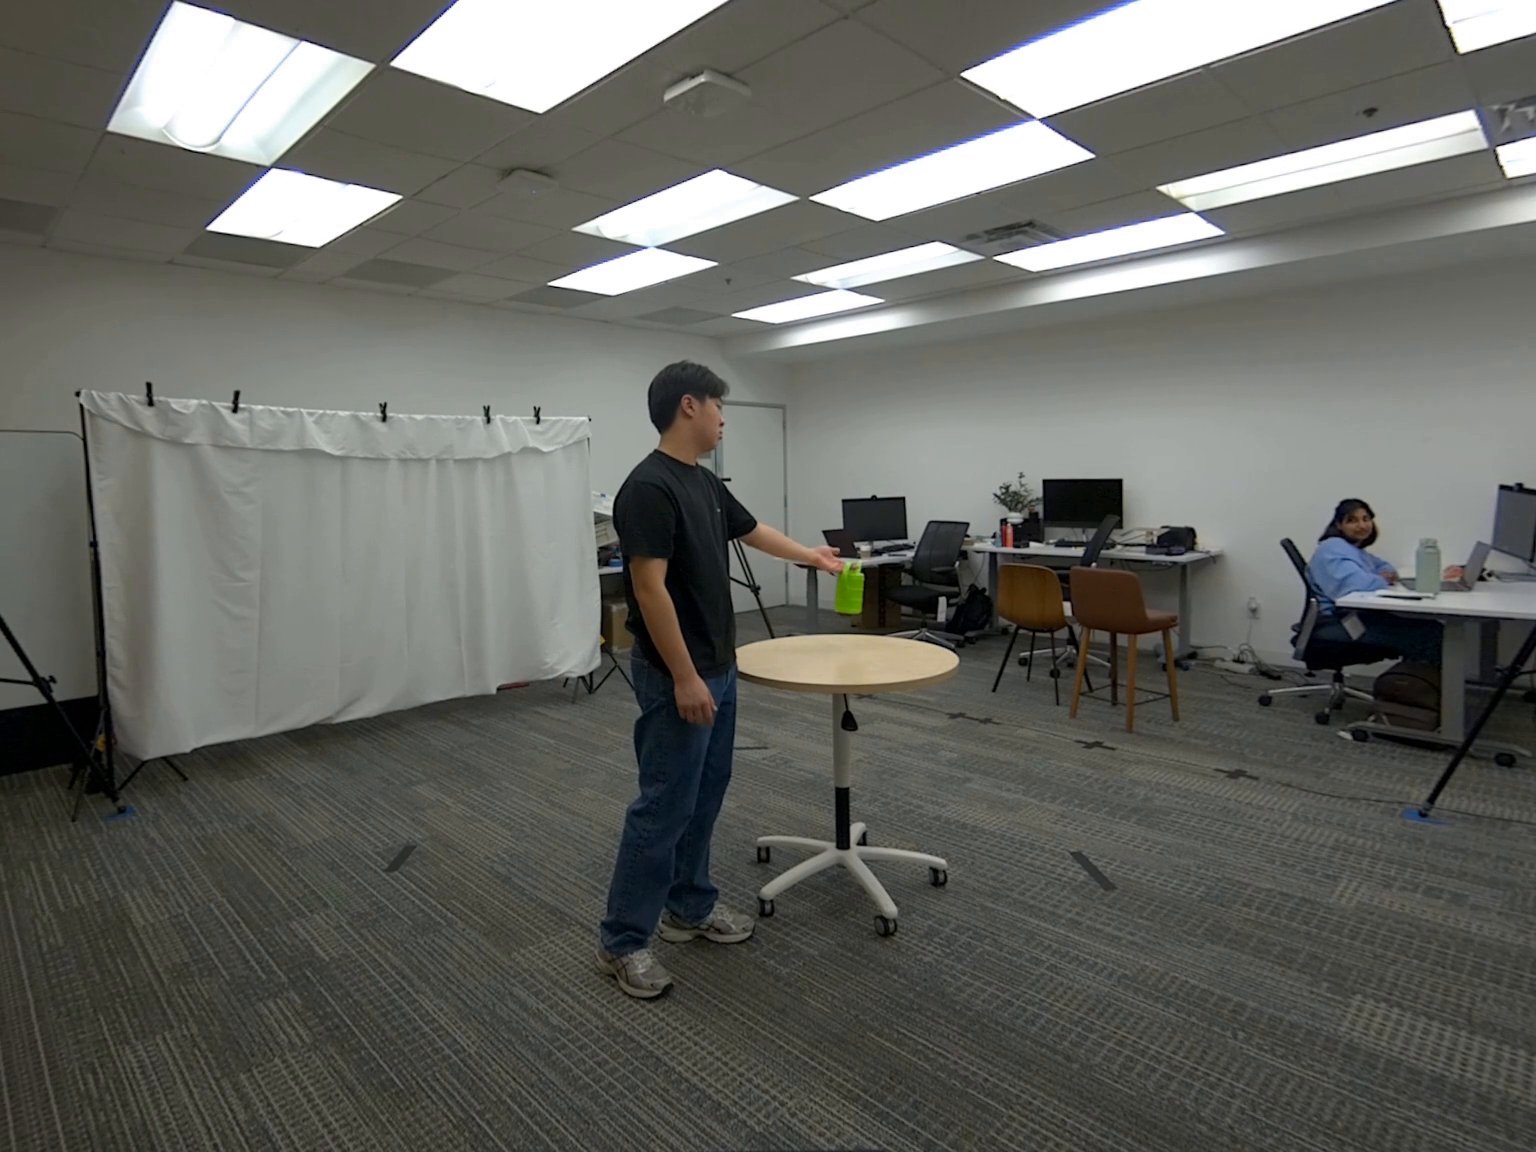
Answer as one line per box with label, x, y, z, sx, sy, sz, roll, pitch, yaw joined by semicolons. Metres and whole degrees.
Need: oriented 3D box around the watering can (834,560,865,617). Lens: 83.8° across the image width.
watering can;0.309;0.034;3.004;0.100;0.176;0.272;2;2;27
